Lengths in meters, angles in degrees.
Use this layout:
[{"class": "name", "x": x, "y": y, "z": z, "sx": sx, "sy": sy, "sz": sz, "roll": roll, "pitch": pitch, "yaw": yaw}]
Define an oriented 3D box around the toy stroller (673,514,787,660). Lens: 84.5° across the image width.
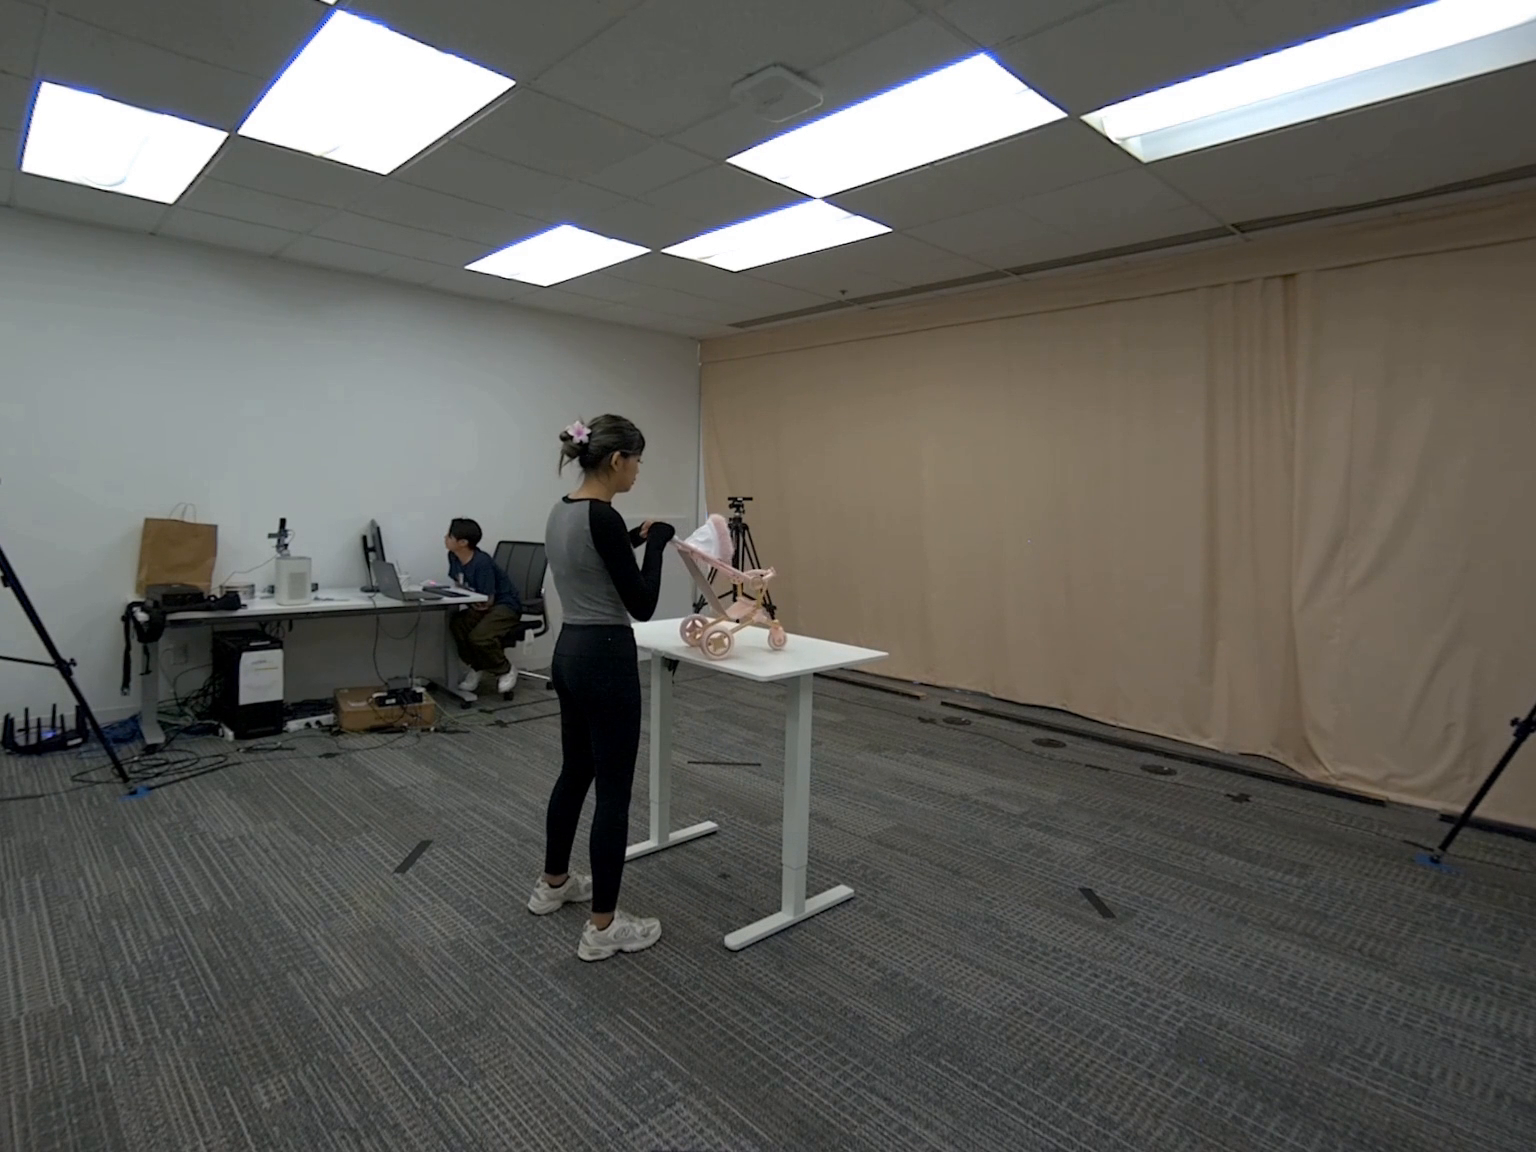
[{"class": "toy stroller", "x": -0.155, "y": 0.034, "z": 2.786, "sx": 0.339, "sy": 0.531, "sz": 0.286, "roll": -16, "pitch": 9, "yaw": -14}]
